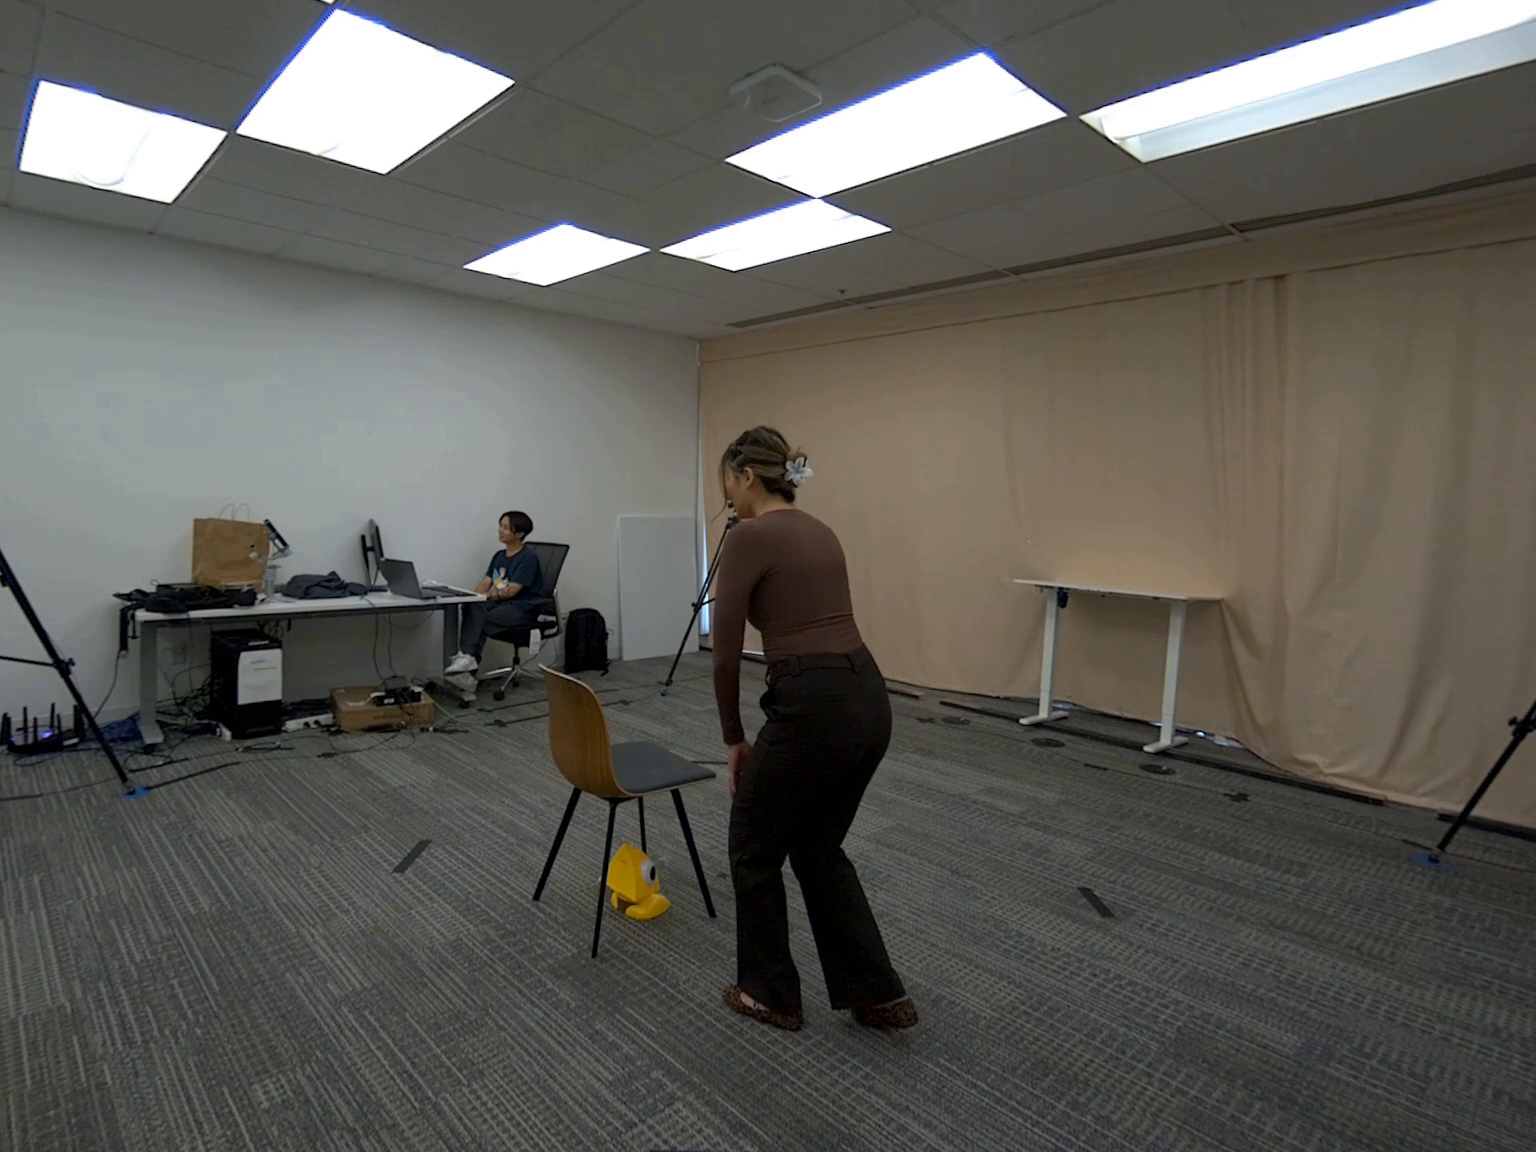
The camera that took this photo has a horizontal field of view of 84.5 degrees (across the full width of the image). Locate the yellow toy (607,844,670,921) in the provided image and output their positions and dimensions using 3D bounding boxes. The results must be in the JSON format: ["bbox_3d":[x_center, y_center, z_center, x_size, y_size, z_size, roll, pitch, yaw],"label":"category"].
[{"bbox_3d":[-0.453,1.012,2.857,0.189,0.230,0.210,-3,6,-44],"label":"yellow toy"}]
